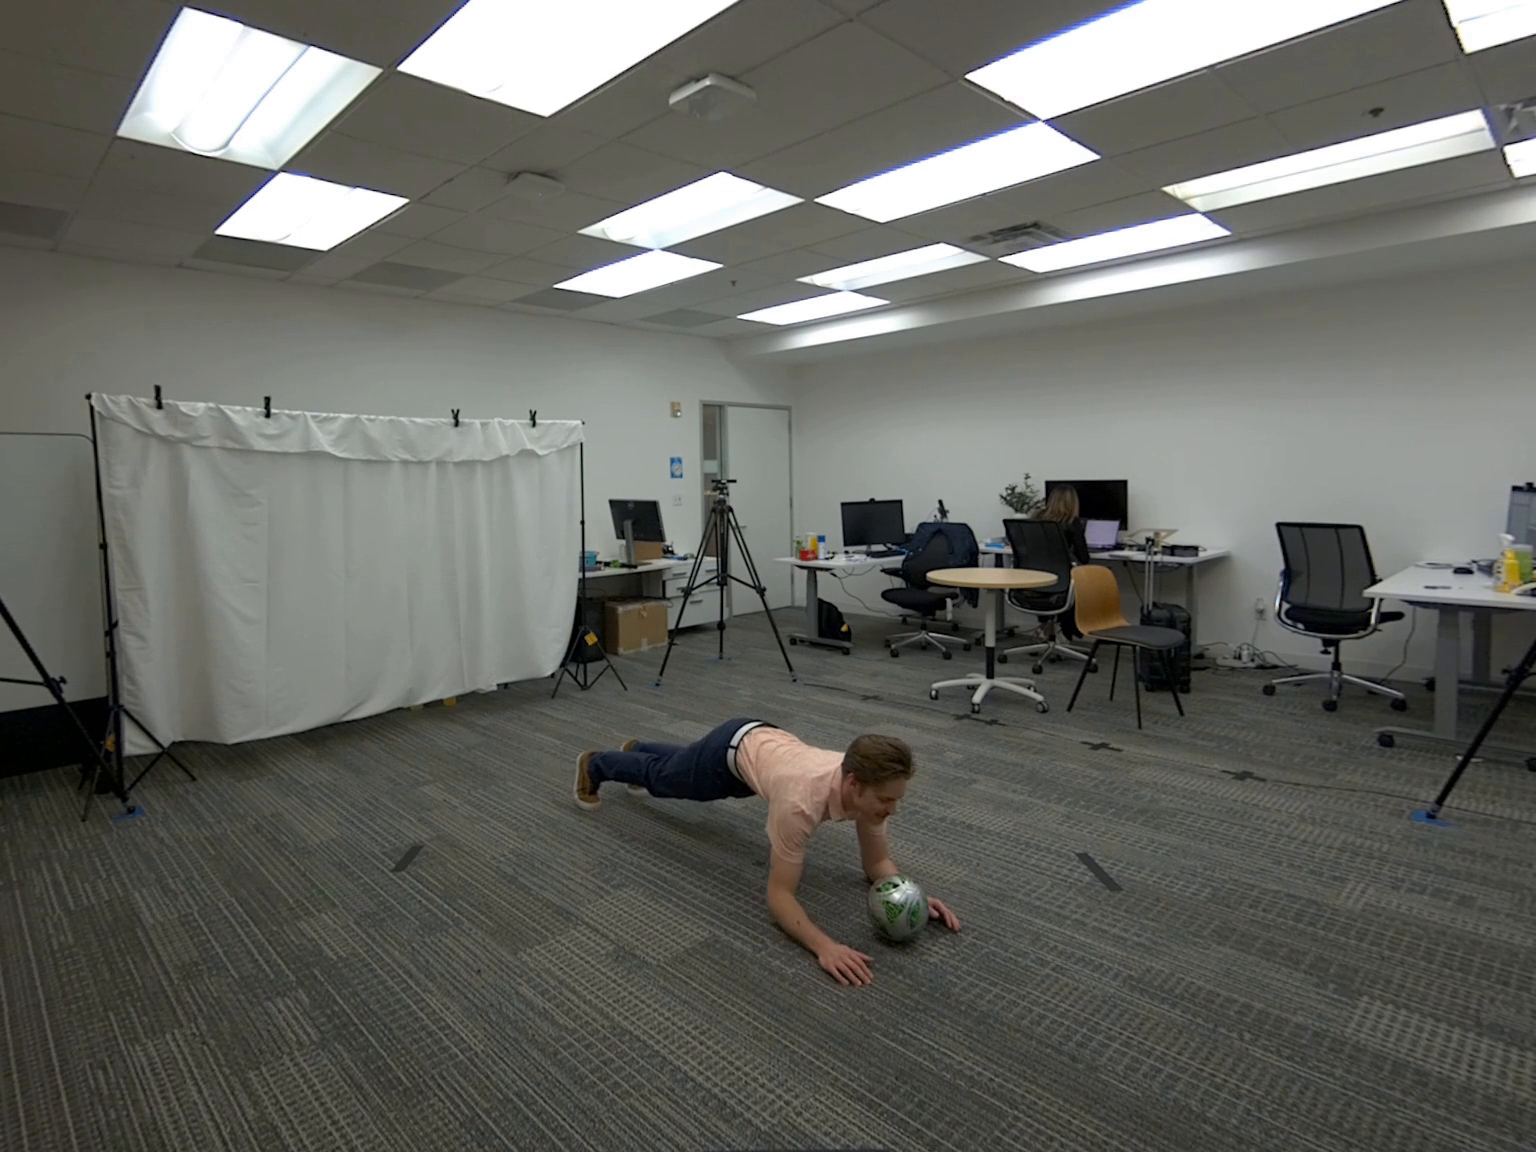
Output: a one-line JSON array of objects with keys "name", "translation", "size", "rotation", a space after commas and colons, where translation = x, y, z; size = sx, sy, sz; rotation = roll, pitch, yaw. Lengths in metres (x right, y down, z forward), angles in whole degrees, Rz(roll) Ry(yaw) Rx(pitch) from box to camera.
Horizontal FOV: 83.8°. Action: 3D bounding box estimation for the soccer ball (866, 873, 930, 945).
[{"name": "soccer ball", "translation": [0.395, 1.007, 2.585], "size": [0.187, 0.187, 0.188], "rotation": [-1, 5, -2]}]
